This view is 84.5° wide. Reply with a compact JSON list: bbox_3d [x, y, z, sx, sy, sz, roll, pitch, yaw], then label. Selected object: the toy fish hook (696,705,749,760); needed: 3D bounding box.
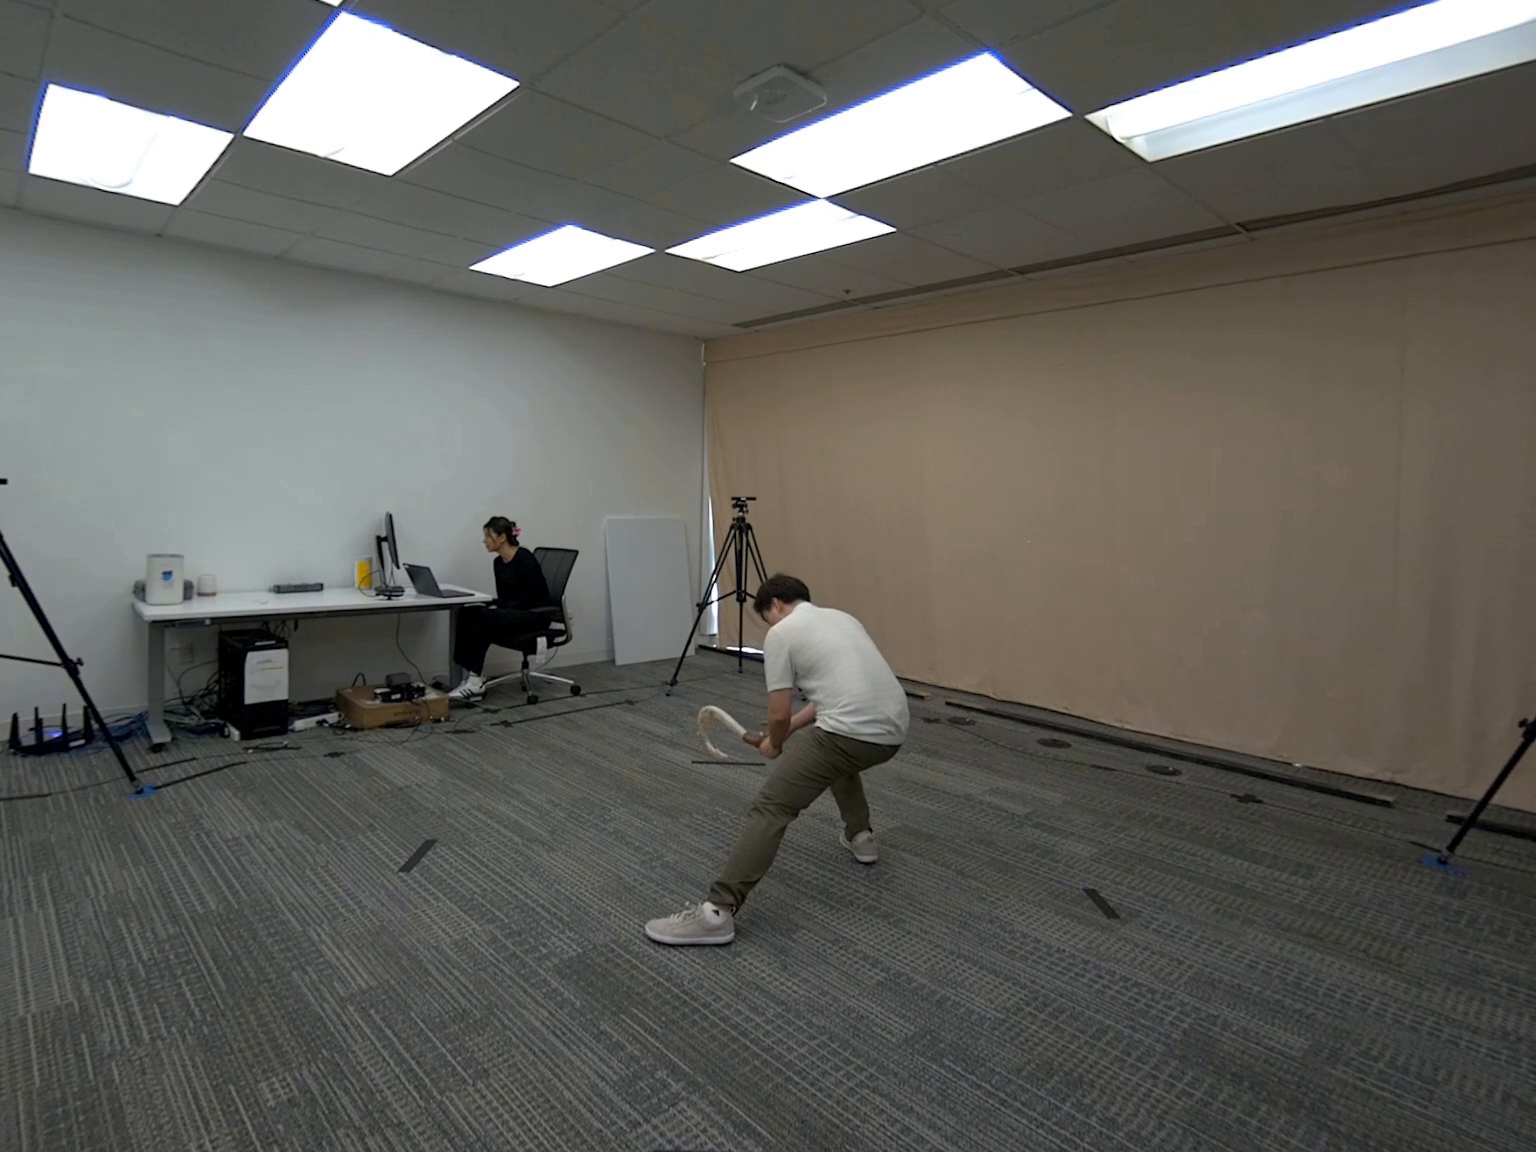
[{"bbox_3d":[-0.130,0.701,3.570,0.047,0.222,0.521,-12,19,-42],"label":"toy fish hook"}]
